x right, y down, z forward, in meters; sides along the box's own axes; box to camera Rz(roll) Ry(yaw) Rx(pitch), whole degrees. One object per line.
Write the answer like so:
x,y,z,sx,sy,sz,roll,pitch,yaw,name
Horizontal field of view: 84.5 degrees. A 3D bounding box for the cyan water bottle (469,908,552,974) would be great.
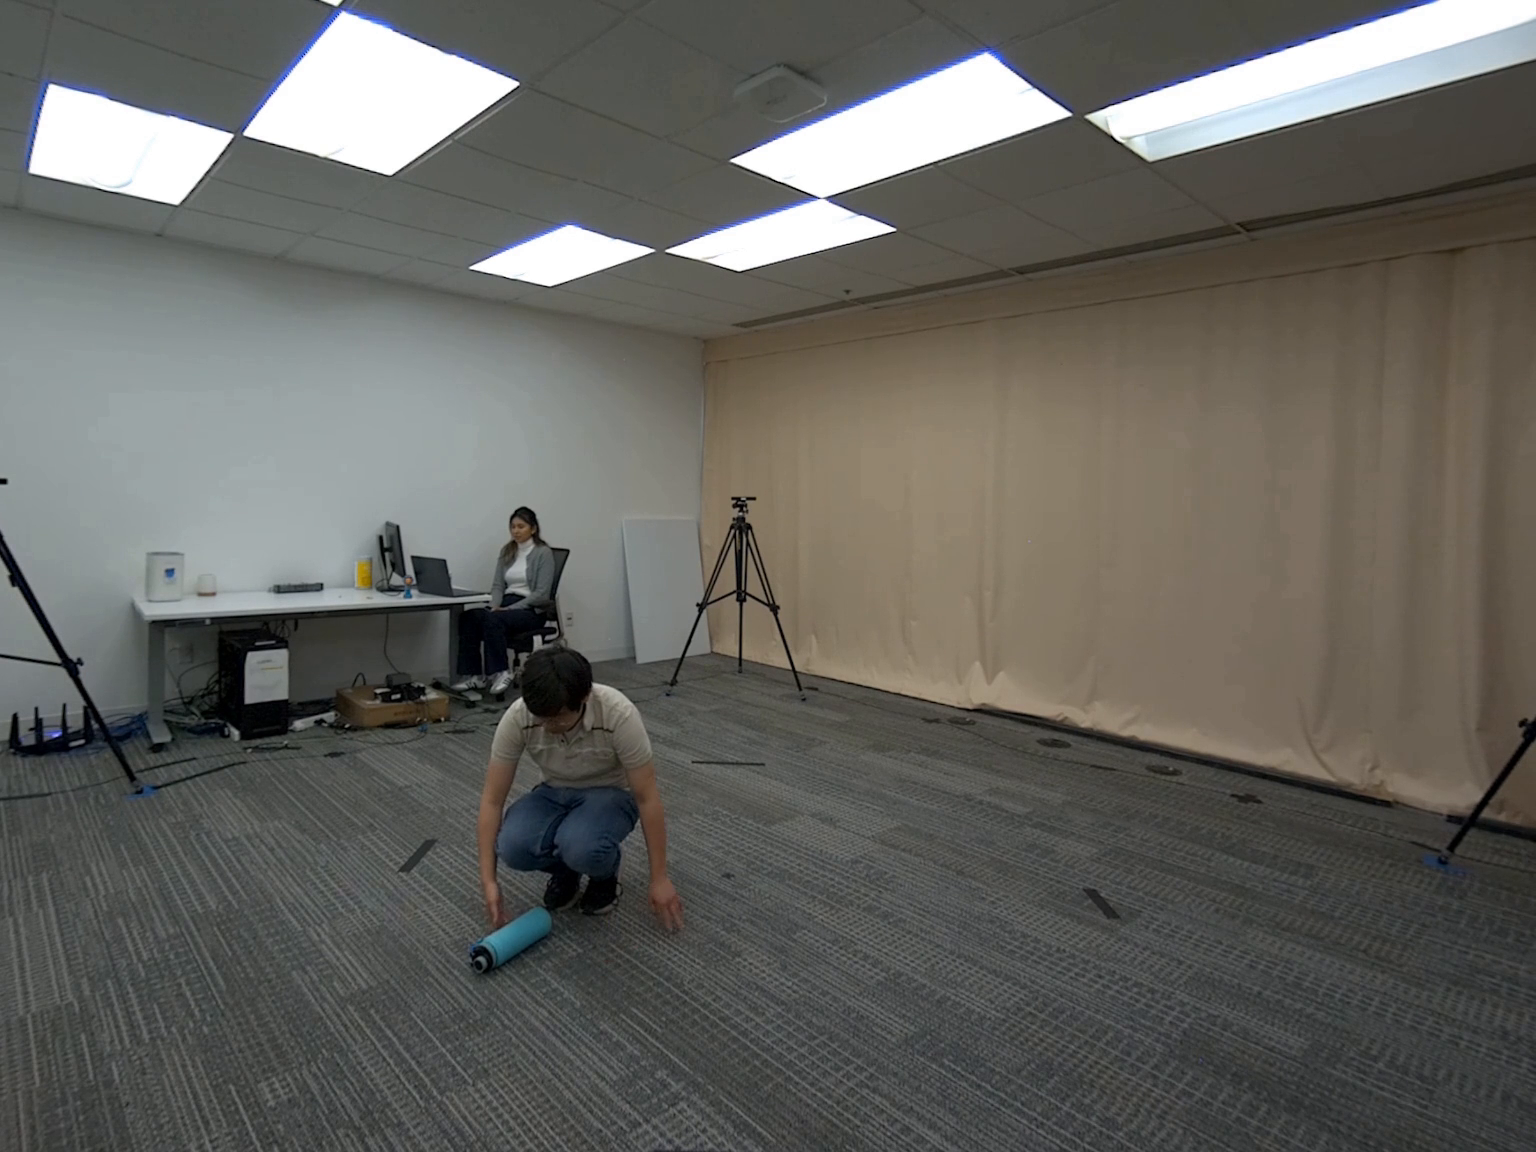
-0.785,1.103,2.526,0.094,0.092,0.278,4,6,28,cyan water bottle
